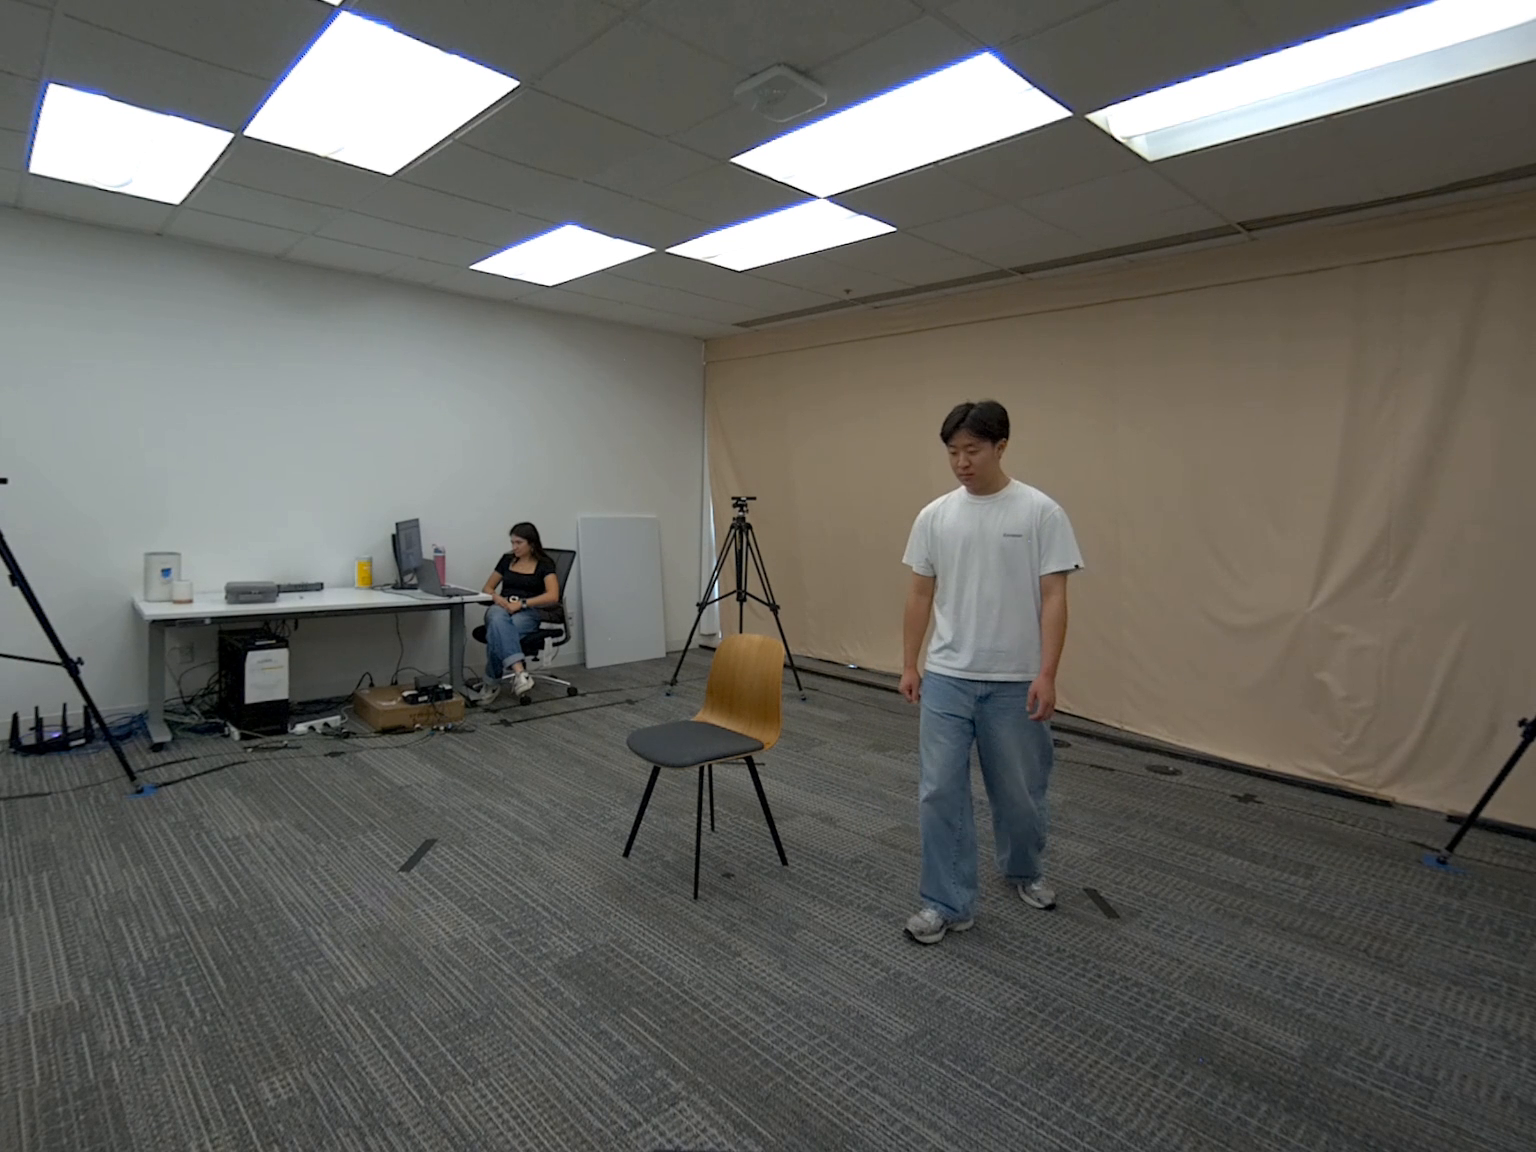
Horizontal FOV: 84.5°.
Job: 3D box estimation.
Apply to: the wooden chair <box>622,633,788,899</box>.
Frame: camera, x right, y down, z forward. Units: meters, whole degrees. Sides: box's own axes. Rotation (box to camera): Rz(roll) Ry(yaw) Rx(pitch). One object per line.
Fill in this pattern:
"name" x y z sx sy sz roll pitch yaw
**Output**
"wooden chair" -0.243 0.671 3.192 0.510 0.877 0.490 4 1 -42
